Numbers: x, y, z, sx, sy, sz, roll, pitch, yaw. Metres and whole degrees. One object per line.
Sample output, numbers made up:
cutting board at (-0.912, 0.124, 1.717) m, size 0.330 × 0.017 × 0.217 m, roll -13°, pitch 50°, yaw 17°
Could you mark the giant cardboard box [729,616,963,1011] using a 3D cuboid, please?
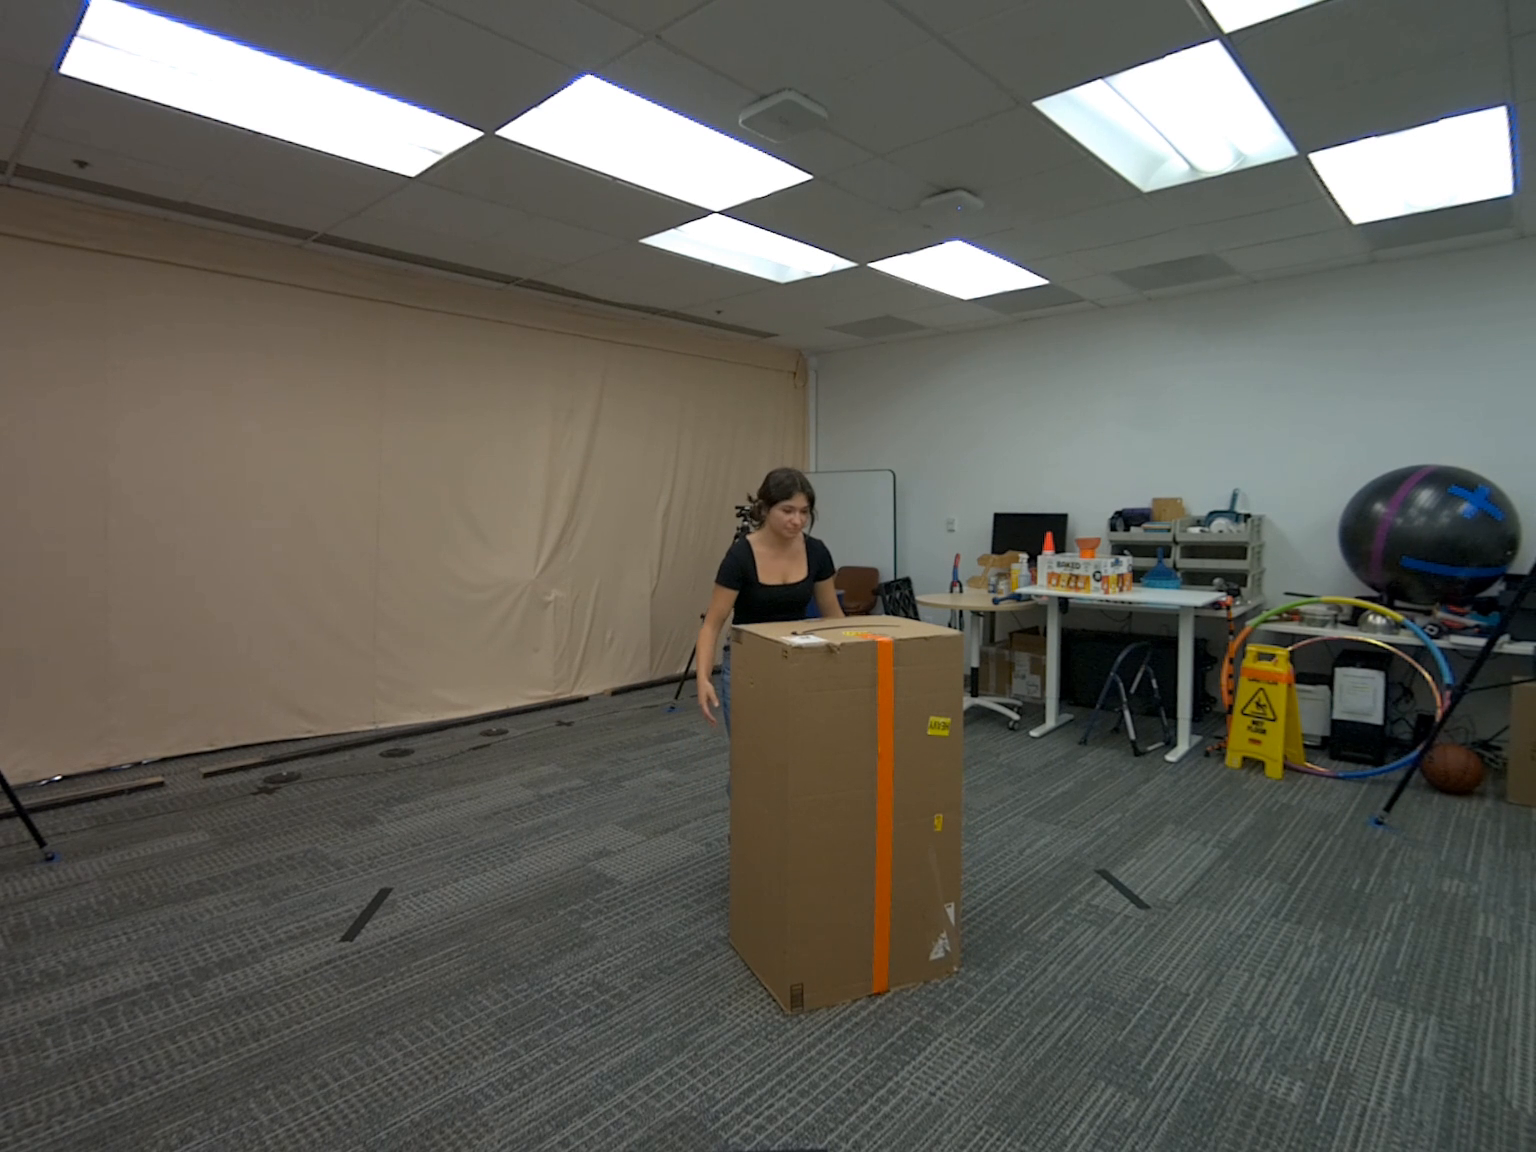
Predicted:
giant cardboard box at (0.234, 0.669, 2.568) m, size 0.564 × 1.023 × 0.437 m, roll -2°, pitch 4°, yaw -24°
